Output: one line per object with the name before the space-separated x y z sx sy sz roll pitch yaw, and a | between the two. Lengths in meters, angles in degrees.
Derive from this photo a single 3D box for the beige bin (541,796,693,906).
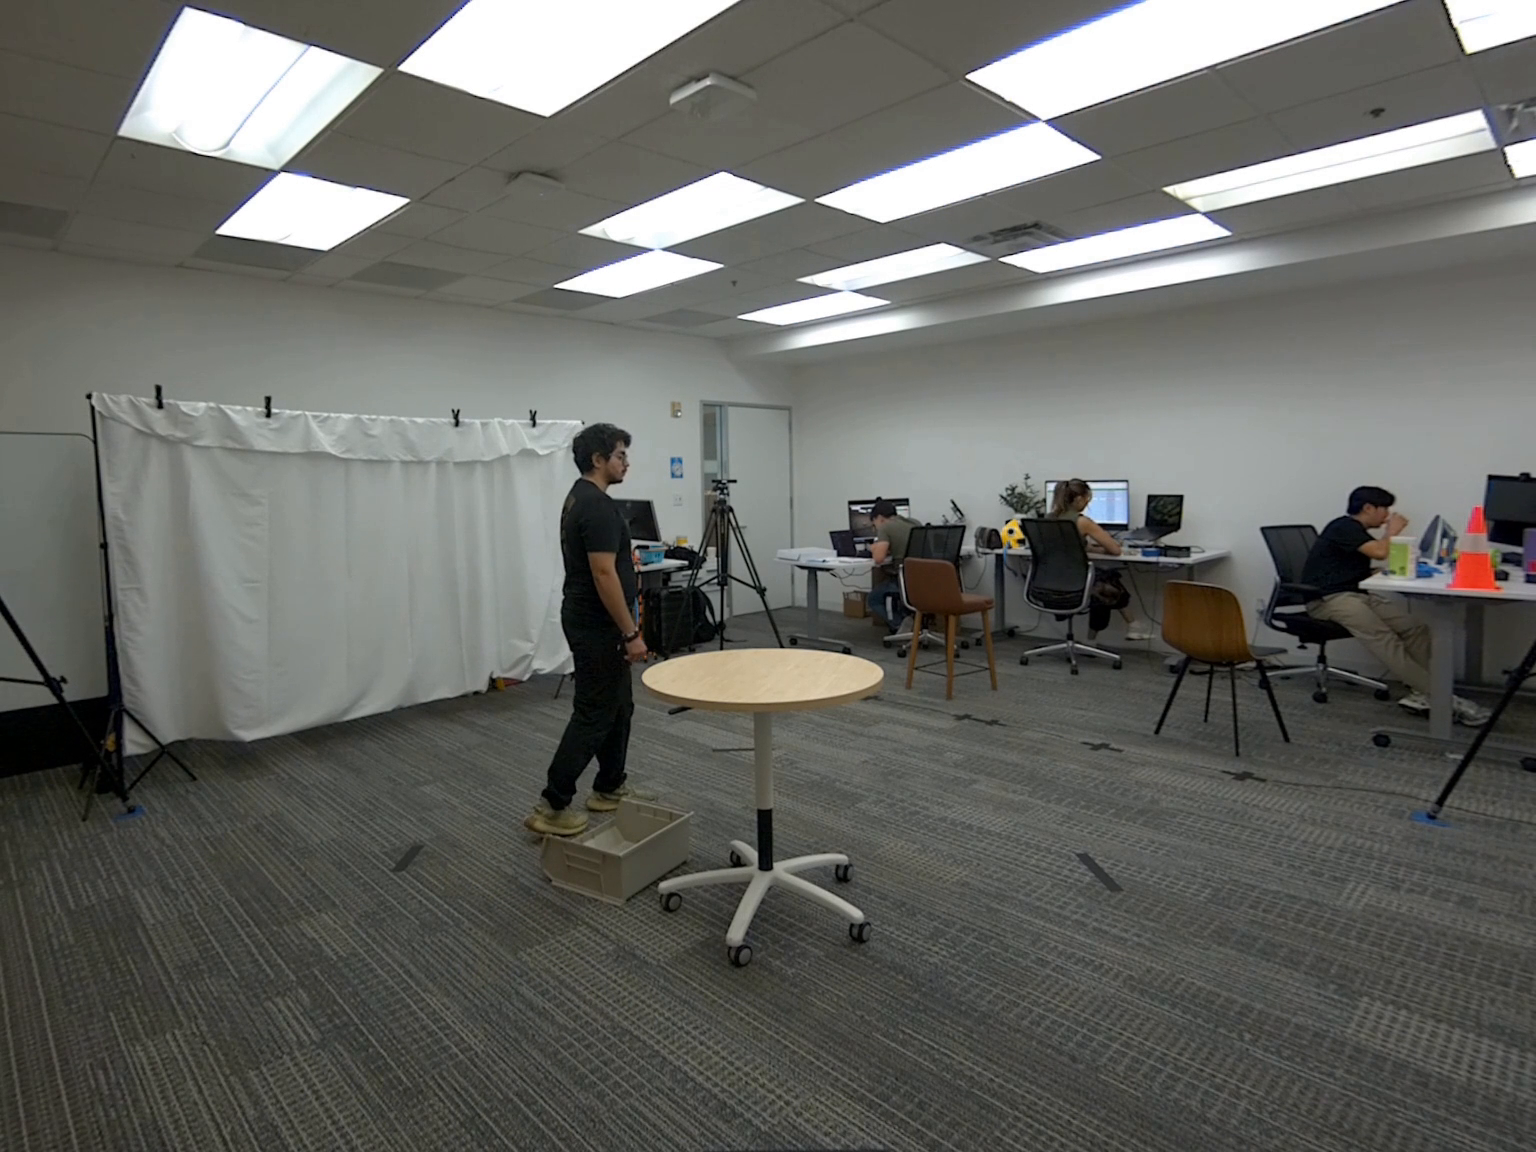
beige bin | -0.534 0.973 3.069 0.388 0.188 0.413 4 7 31
